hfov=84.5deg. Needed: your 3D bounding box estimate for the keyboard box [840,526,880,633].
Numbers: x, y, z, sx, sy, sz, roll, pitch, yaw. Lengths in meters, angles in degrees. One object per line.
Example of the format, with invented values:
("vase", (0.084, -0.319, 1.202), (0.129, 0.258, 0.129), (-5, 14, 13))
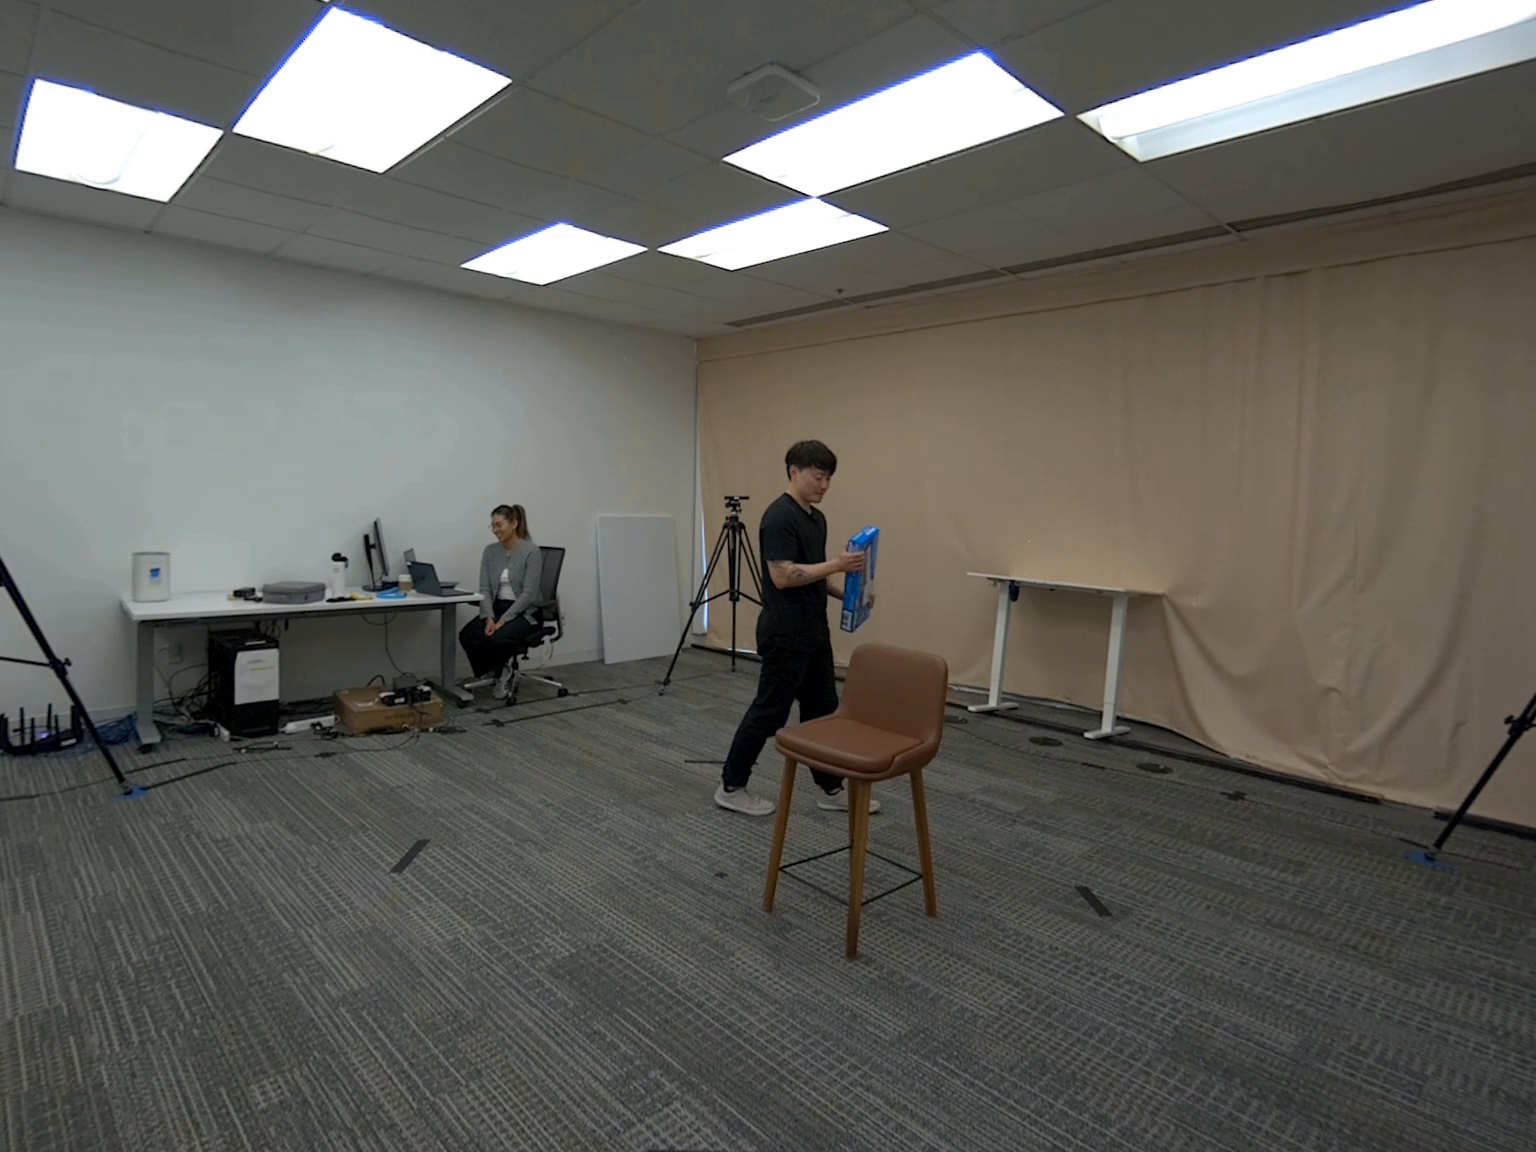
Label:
("keyboard box", (0.383, 0.009, 3.605), (0.060, 0.429, 0.174), (18, 31, 27))
